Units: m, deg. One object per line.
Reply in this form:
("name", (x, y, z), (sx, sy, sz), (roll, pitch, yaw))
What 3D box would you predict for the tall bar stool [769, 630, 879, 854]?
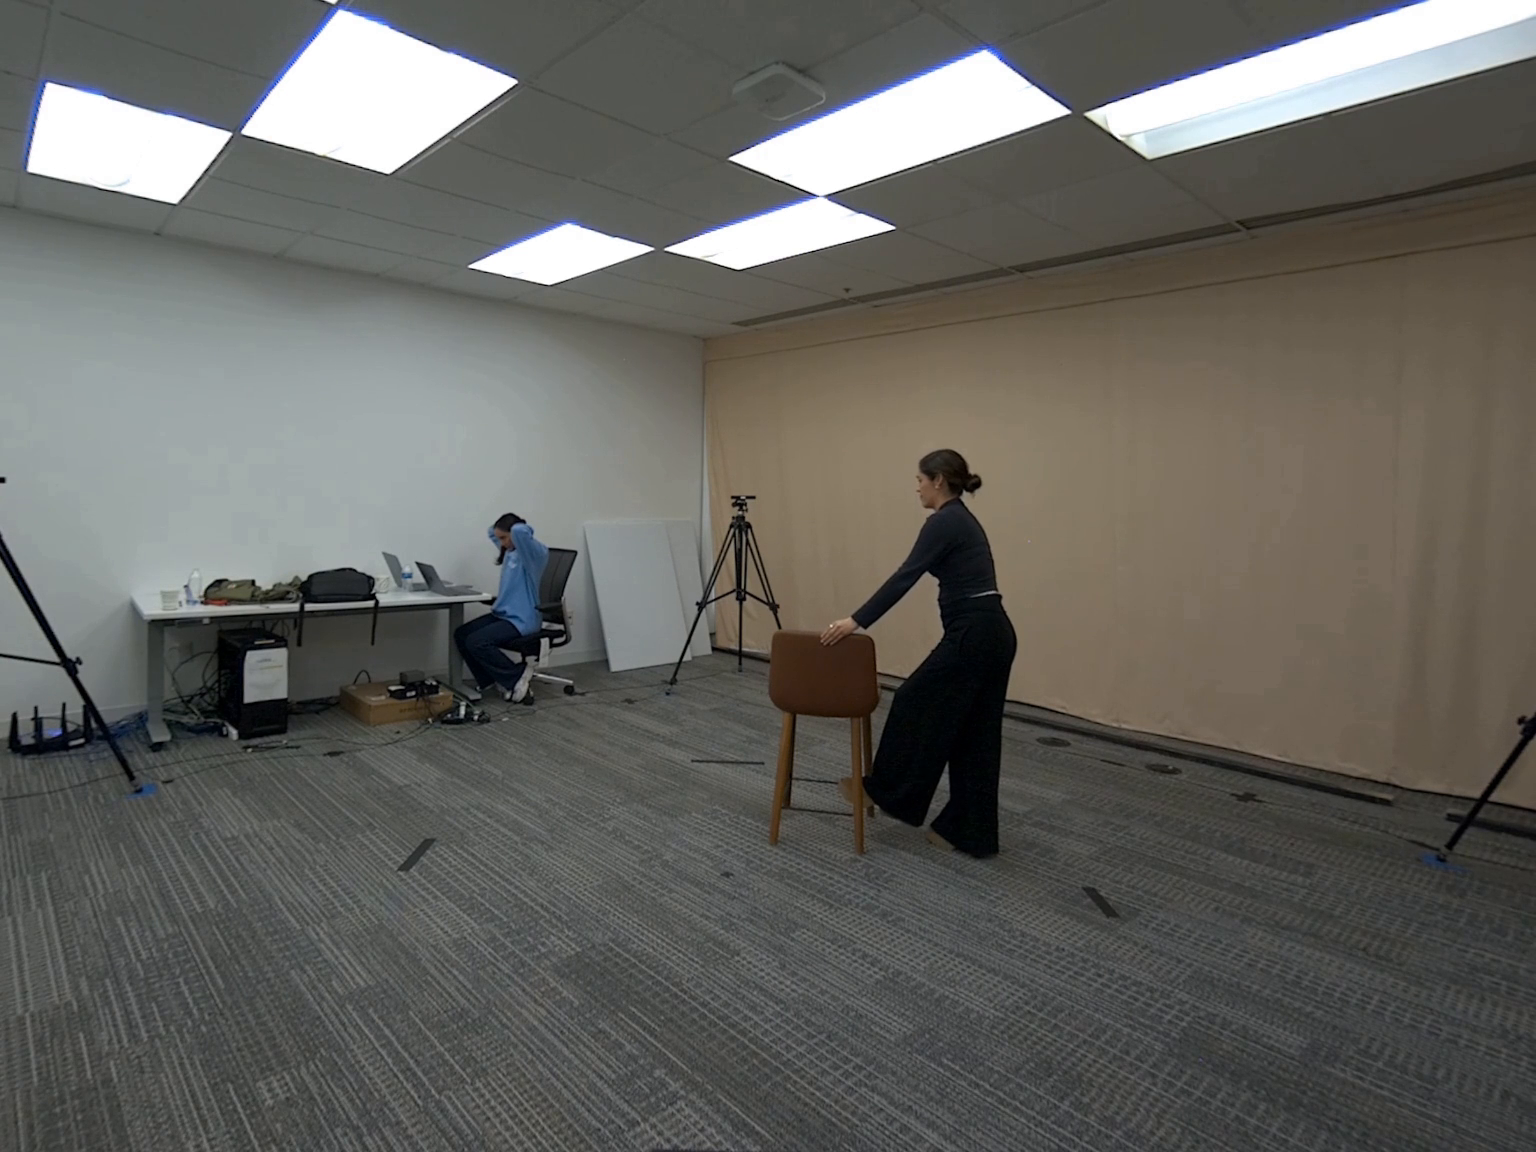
("tall bar stool", (0.235, 0.637, 3.538), (0.461, 0.887, 0.464), (3, 5, 13))
